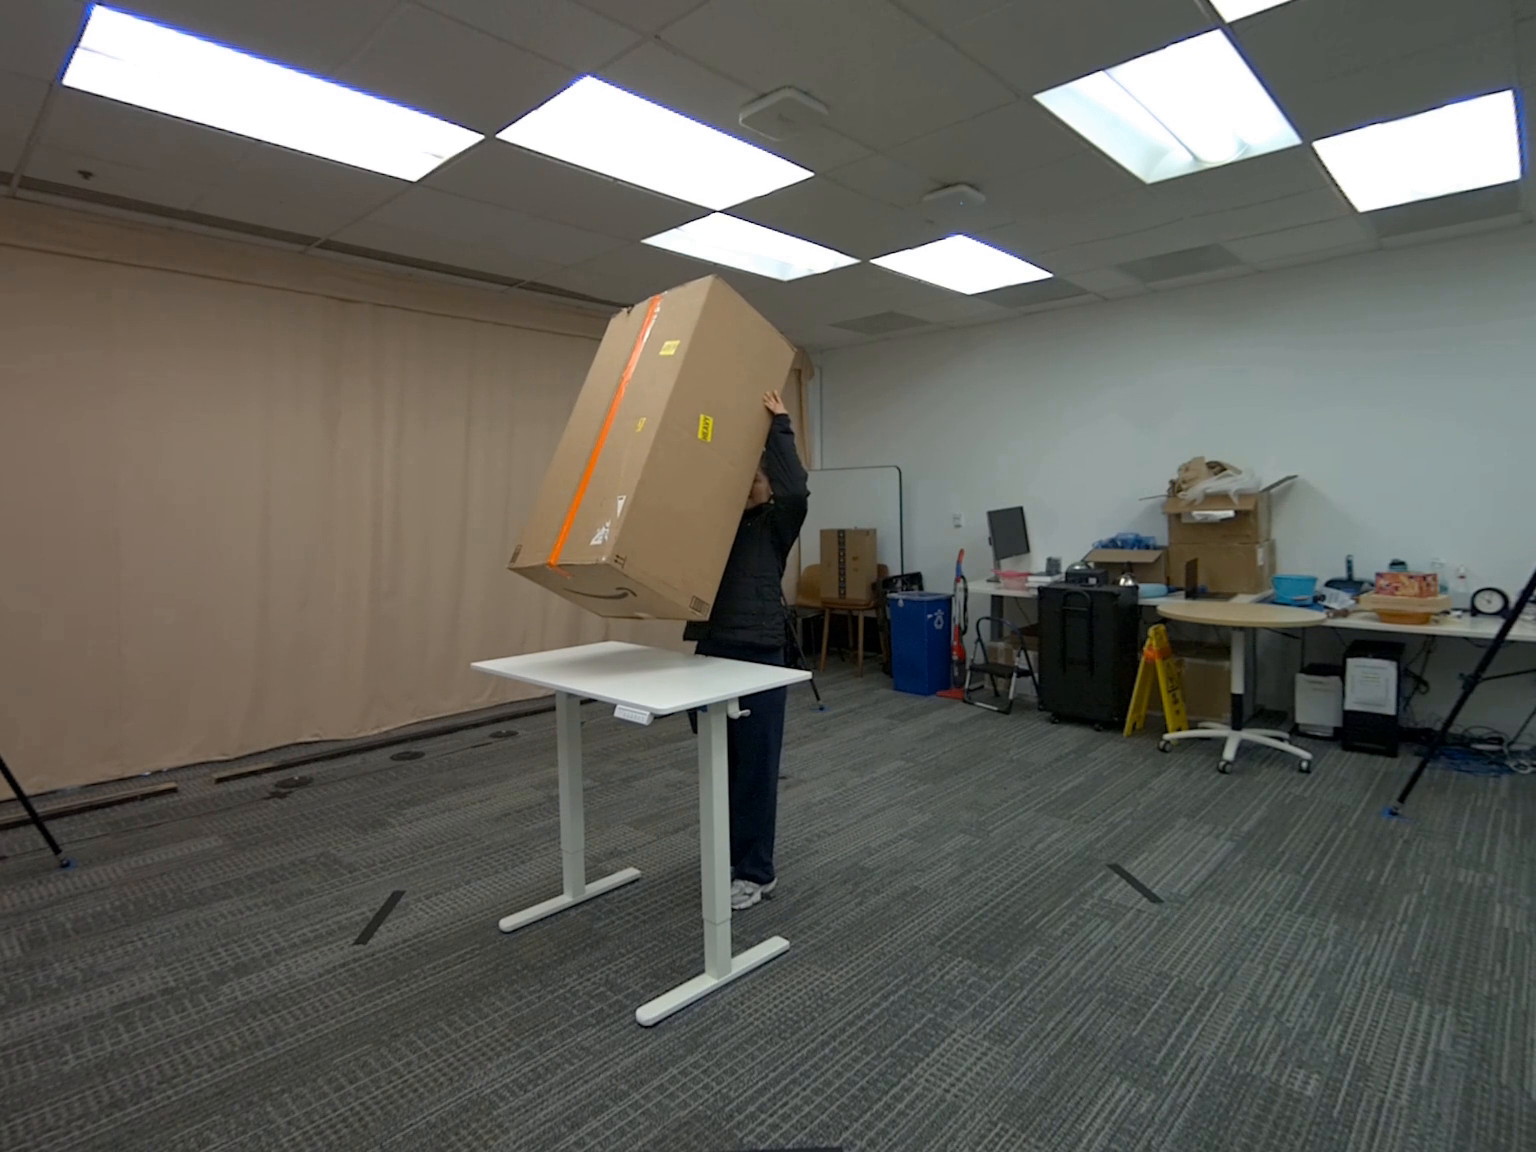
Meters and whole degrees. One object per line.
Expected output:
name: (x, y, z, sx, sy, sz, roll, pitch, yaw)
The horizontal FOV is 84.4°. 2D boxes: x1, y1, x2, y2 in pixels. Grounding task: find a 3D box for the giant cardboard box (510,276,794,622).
giant cardboard box: (-0.368, -0.402, 2.846, 0.602, 1.032, 0.431, -3, -27, 47)
